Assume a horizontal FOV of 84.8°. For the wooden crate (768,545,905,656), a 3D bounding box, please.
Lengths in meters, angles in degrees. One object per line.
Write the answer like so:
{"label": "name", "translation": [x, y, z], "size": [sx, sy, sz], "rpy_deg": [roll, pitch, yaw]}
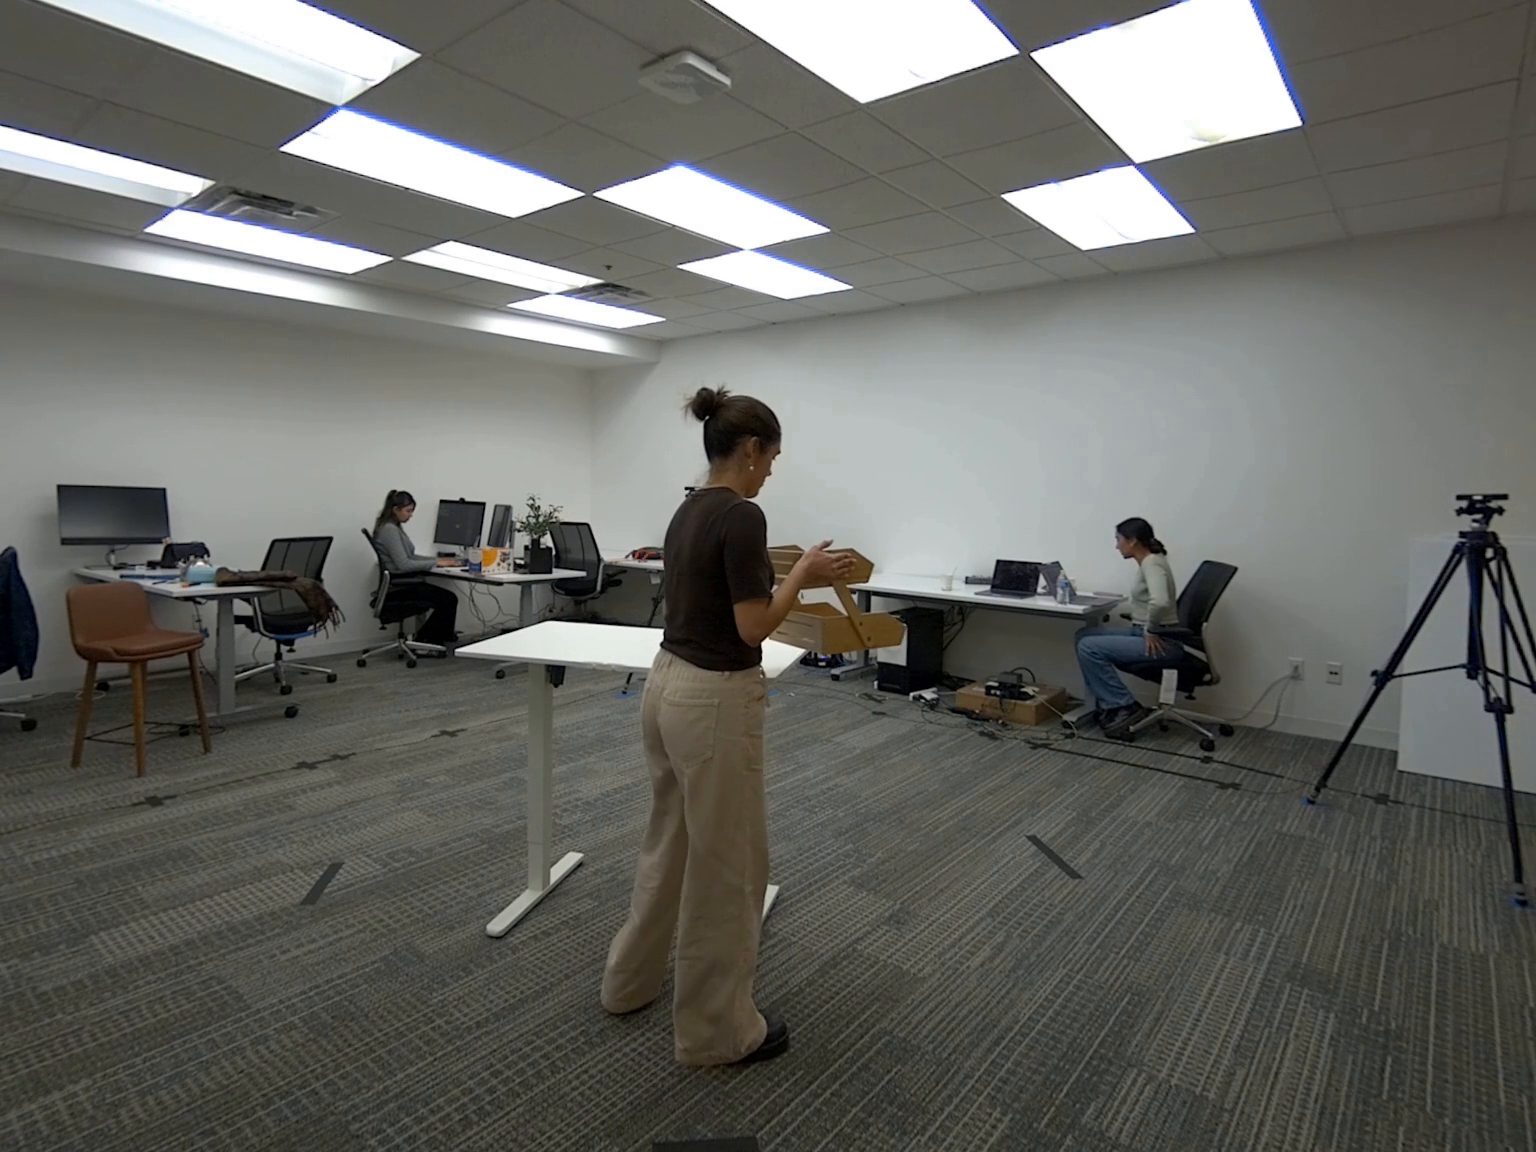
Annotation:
{"label": "wooden crate", "translation": [0.139, 0.047, 2.273], "size": [0.295, 0.272, 0.333], "rpy_deg": [-5, 5, -25]}
